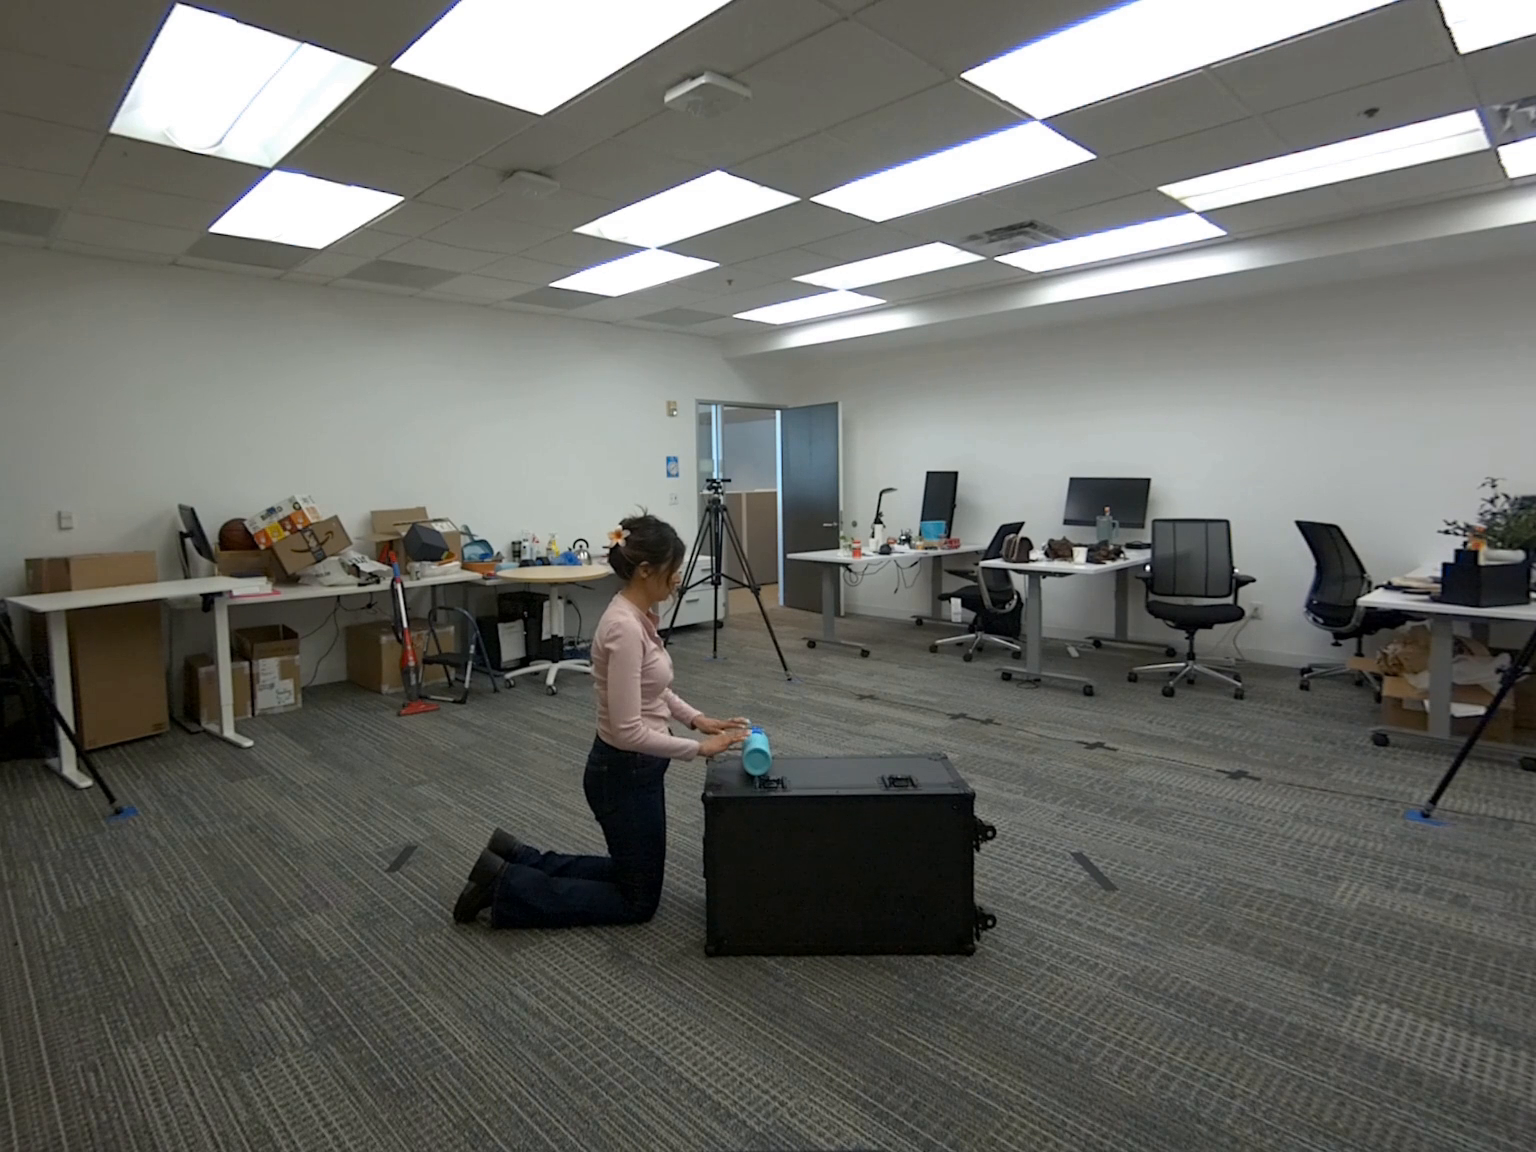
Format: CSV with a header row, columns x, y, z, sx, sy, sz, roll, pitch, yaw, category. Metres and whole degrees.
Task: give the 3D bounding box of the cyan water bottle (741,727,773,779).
x,y,z,sx,sy,sz,roll,pitch,yaw,category
-0.032,0.550,2.718,0.092,0.092,0.284,-1,4,0,cyan water bottle
